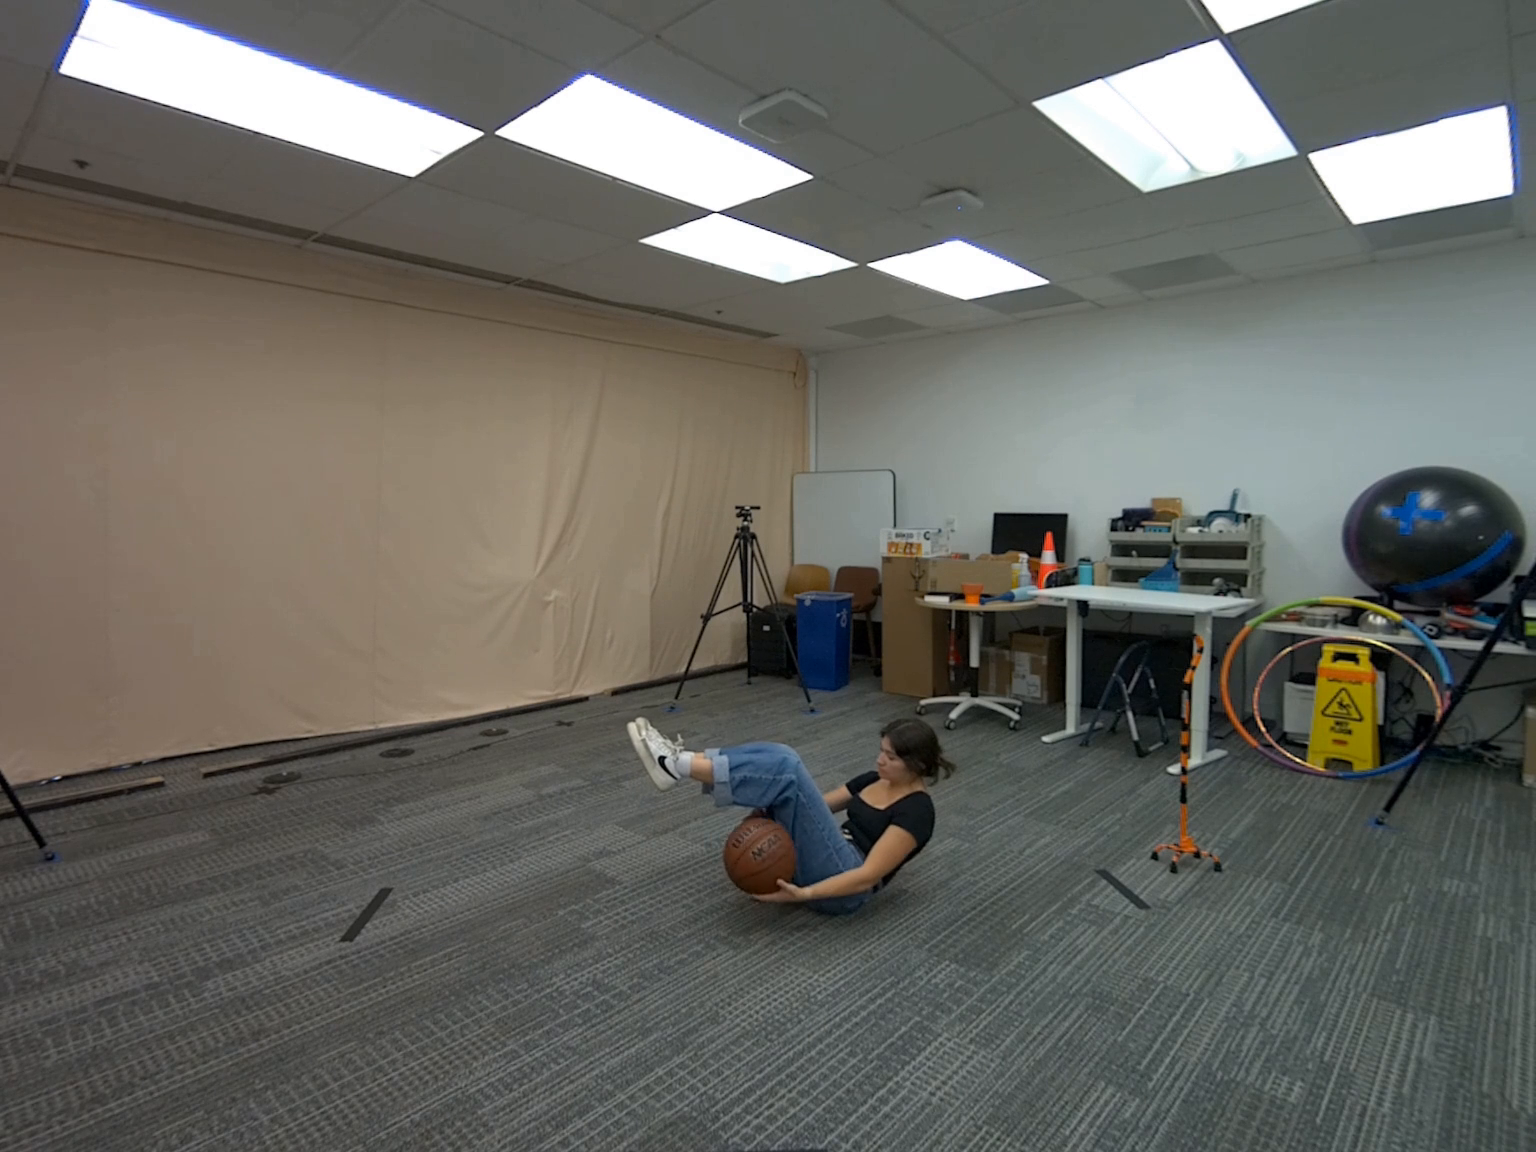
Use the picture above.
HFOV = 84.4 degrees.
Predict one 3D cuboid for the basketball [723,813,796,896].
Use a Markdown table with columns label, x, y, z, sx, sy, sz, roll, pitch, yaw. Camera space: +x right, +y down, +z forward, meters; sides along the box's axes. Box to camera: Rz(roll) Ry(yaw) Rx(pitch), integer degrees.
| label | x | y | z | sx | sy | sz | roll | pitch | yaw |
| --- | --- | --- | --- | --- | --- | --- | --- | --- | --- |
| basketball | -0.025 | 0.908 | 2.780 | 0.236 | 0.235 | 0.237 | 0 | 4 | -2 |
